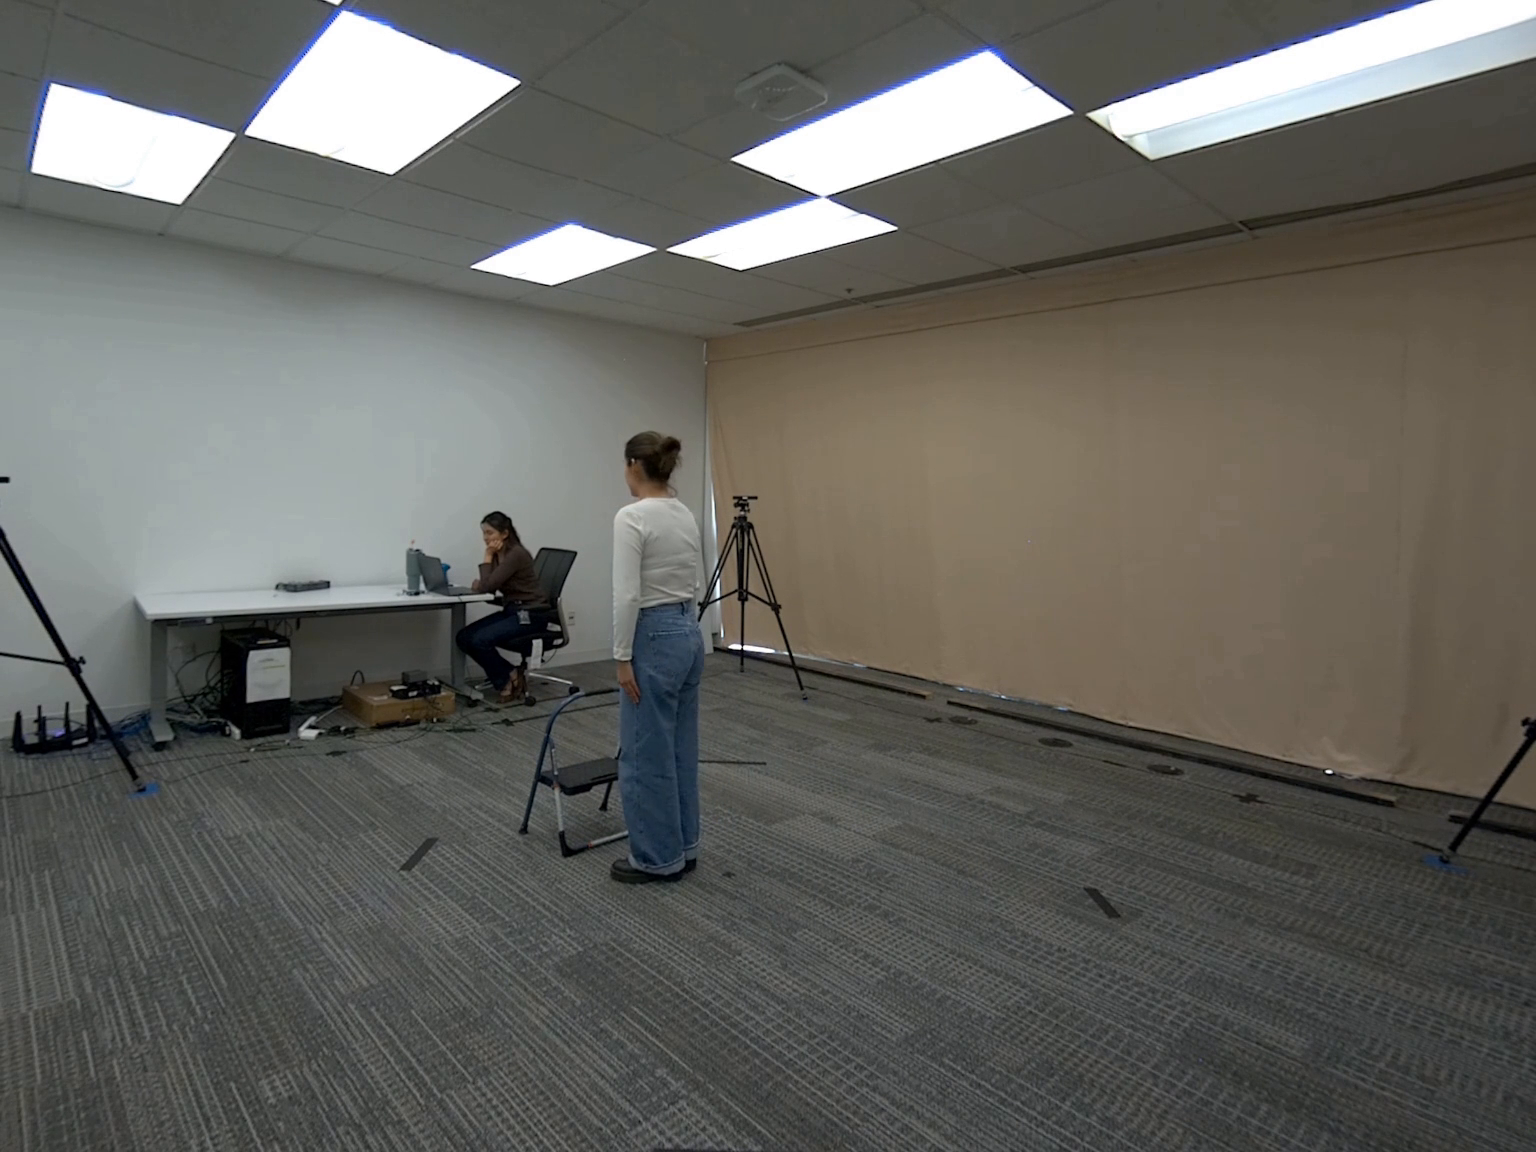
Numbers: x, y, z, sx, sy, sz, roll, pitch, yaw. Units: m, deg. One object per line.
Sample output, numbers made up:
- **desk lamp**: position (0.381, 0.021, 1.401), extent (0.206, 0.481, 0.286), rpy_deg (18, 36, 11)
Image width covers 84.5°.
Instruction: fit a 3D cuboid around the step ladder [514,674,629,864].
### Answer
- **step ladder**: position (-0.755, 0.758, 3.461), extent (0.358, 0.604, 0.421), rpy_deg (4, 5, 45)
